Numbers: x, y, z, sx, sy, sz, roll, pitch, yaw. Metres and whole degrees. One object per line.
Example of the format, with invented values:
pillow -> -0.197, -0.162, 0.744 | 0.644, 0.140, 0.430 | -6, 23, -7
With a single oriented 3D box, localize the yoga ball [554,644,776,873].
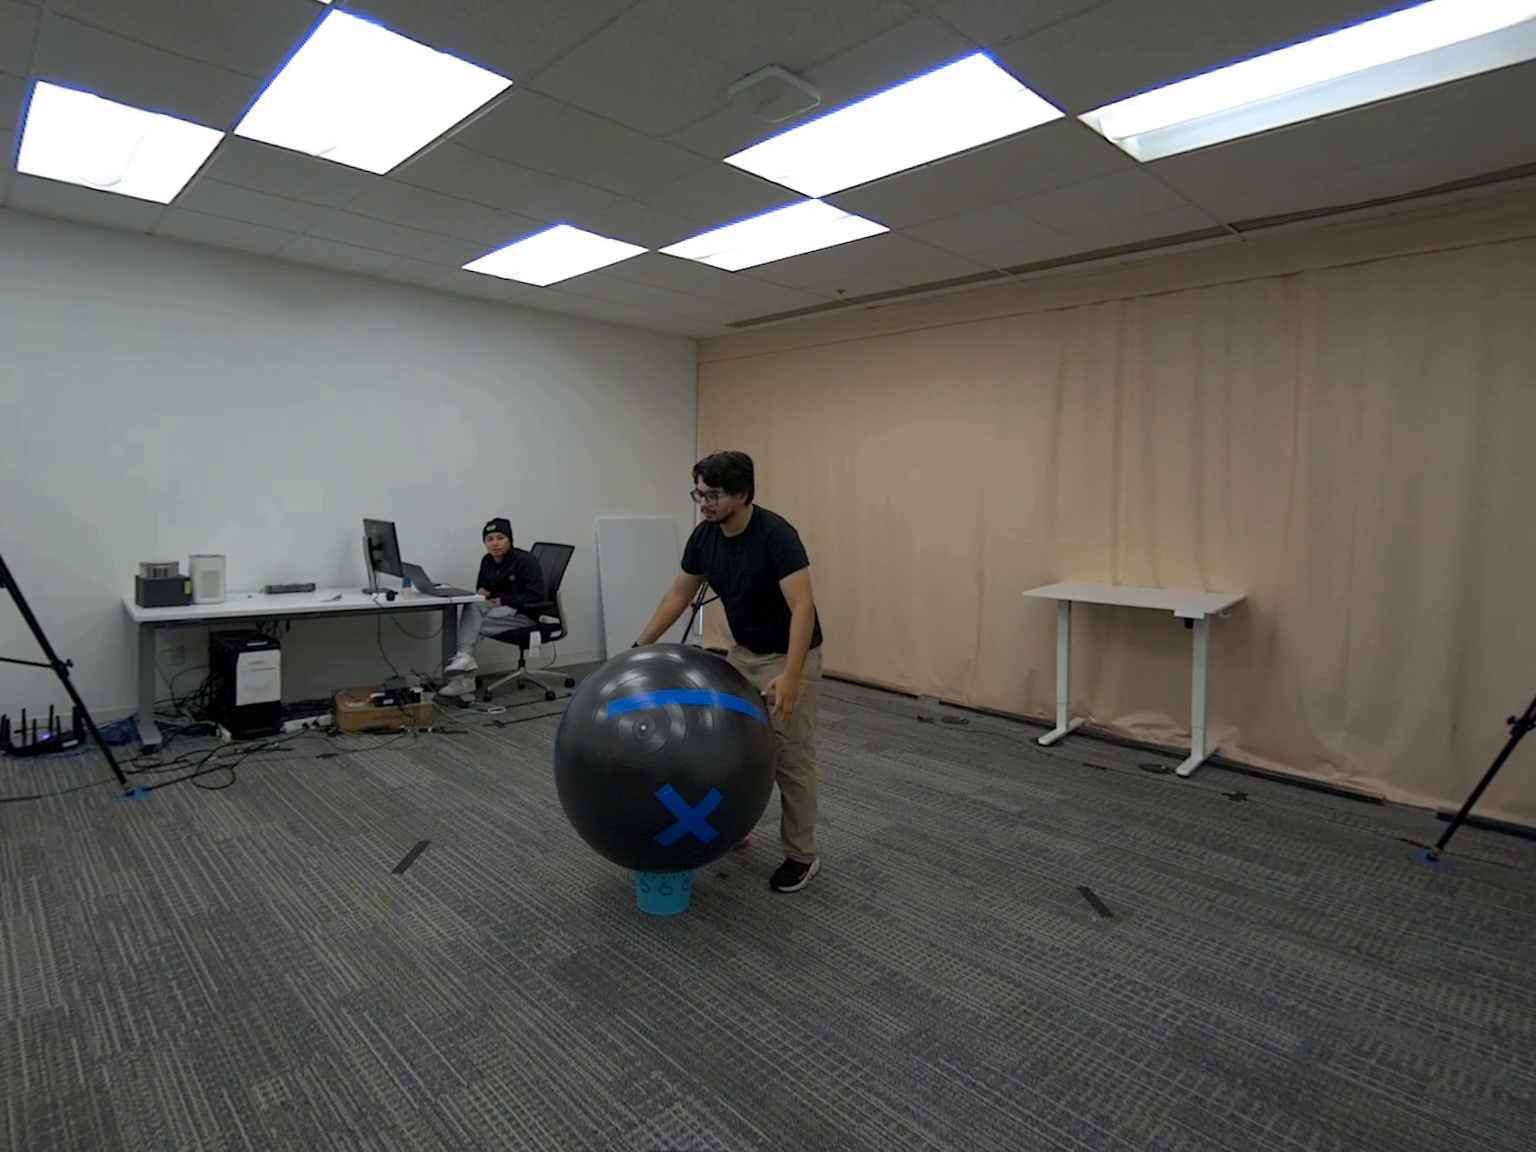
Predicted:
yoga ball -> -0.347, 0.618, 2.865 | 0.757, 0.756, 0.761 | 1, 4, -1
